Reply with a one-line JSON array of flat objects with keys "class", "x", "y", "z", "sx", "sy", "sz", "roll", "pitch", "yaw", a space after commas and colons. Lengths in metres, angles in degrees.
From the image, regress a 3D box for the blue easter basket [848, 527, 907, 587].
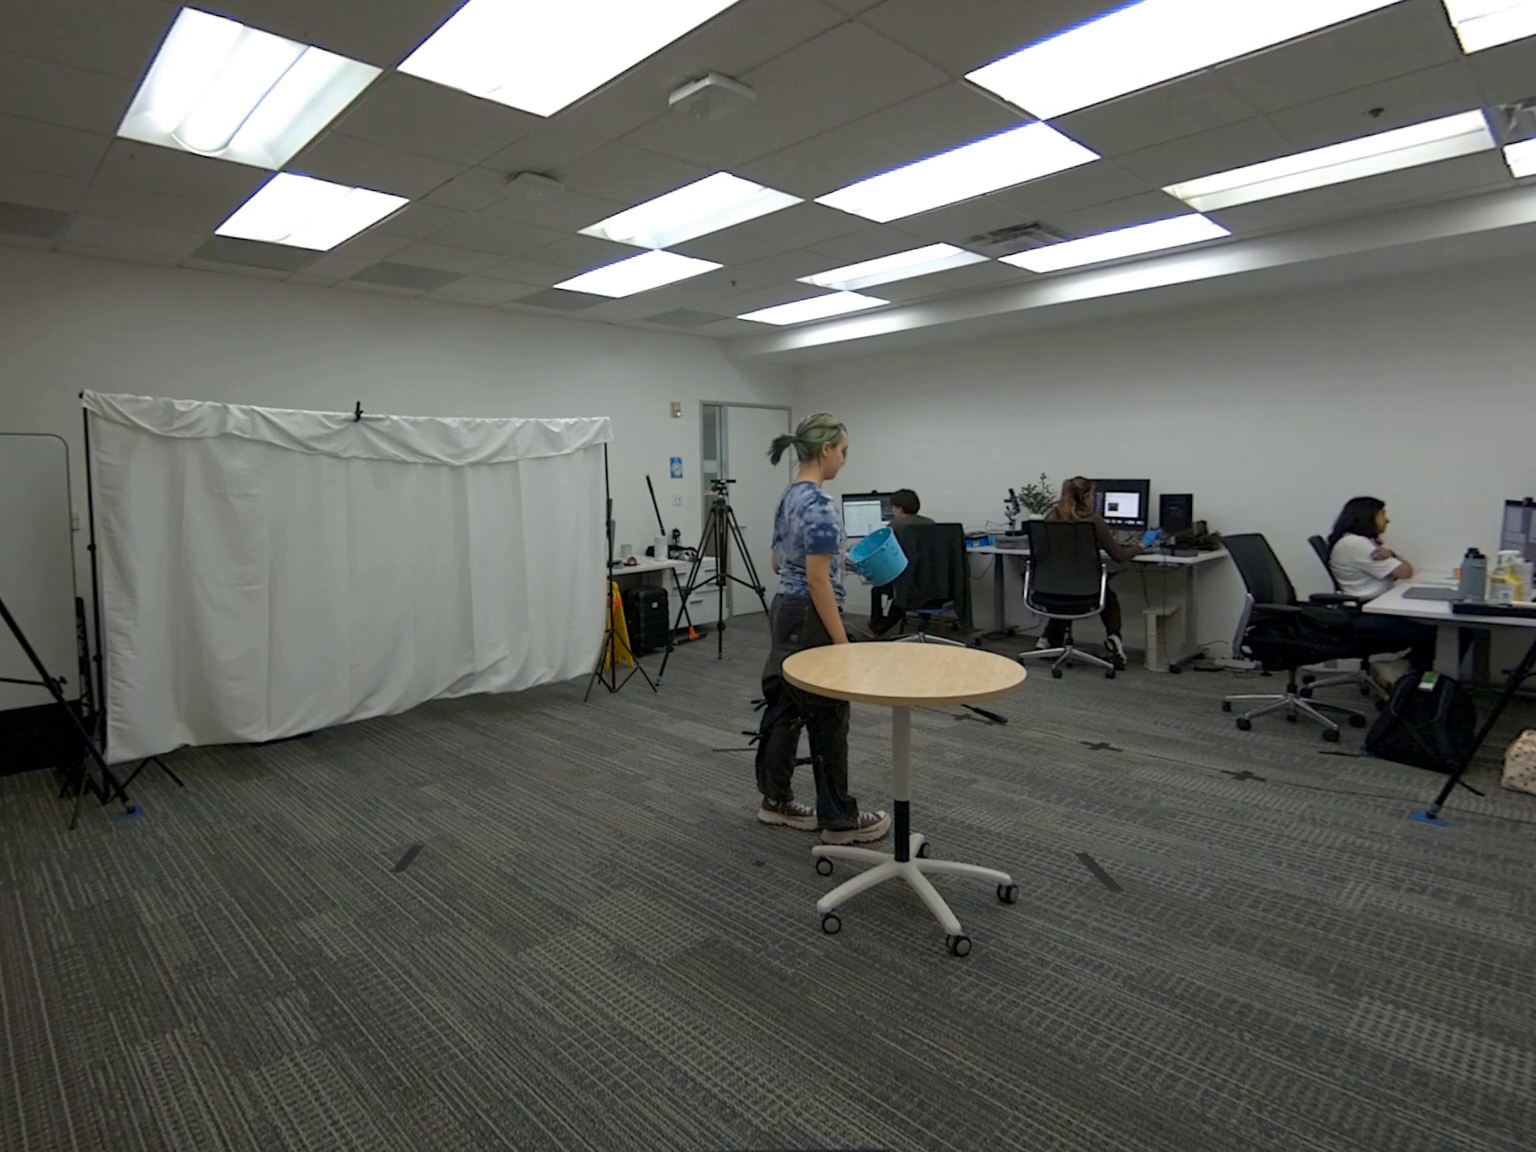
[{"class": "blue easter basket", "x": 0.467, "y": -0.071, "z": 3.608, "sx": 0.244, "sy": 0.153, "sz": 0.247, "roll": -36, "pitch": 15, "yaw": 8}]
